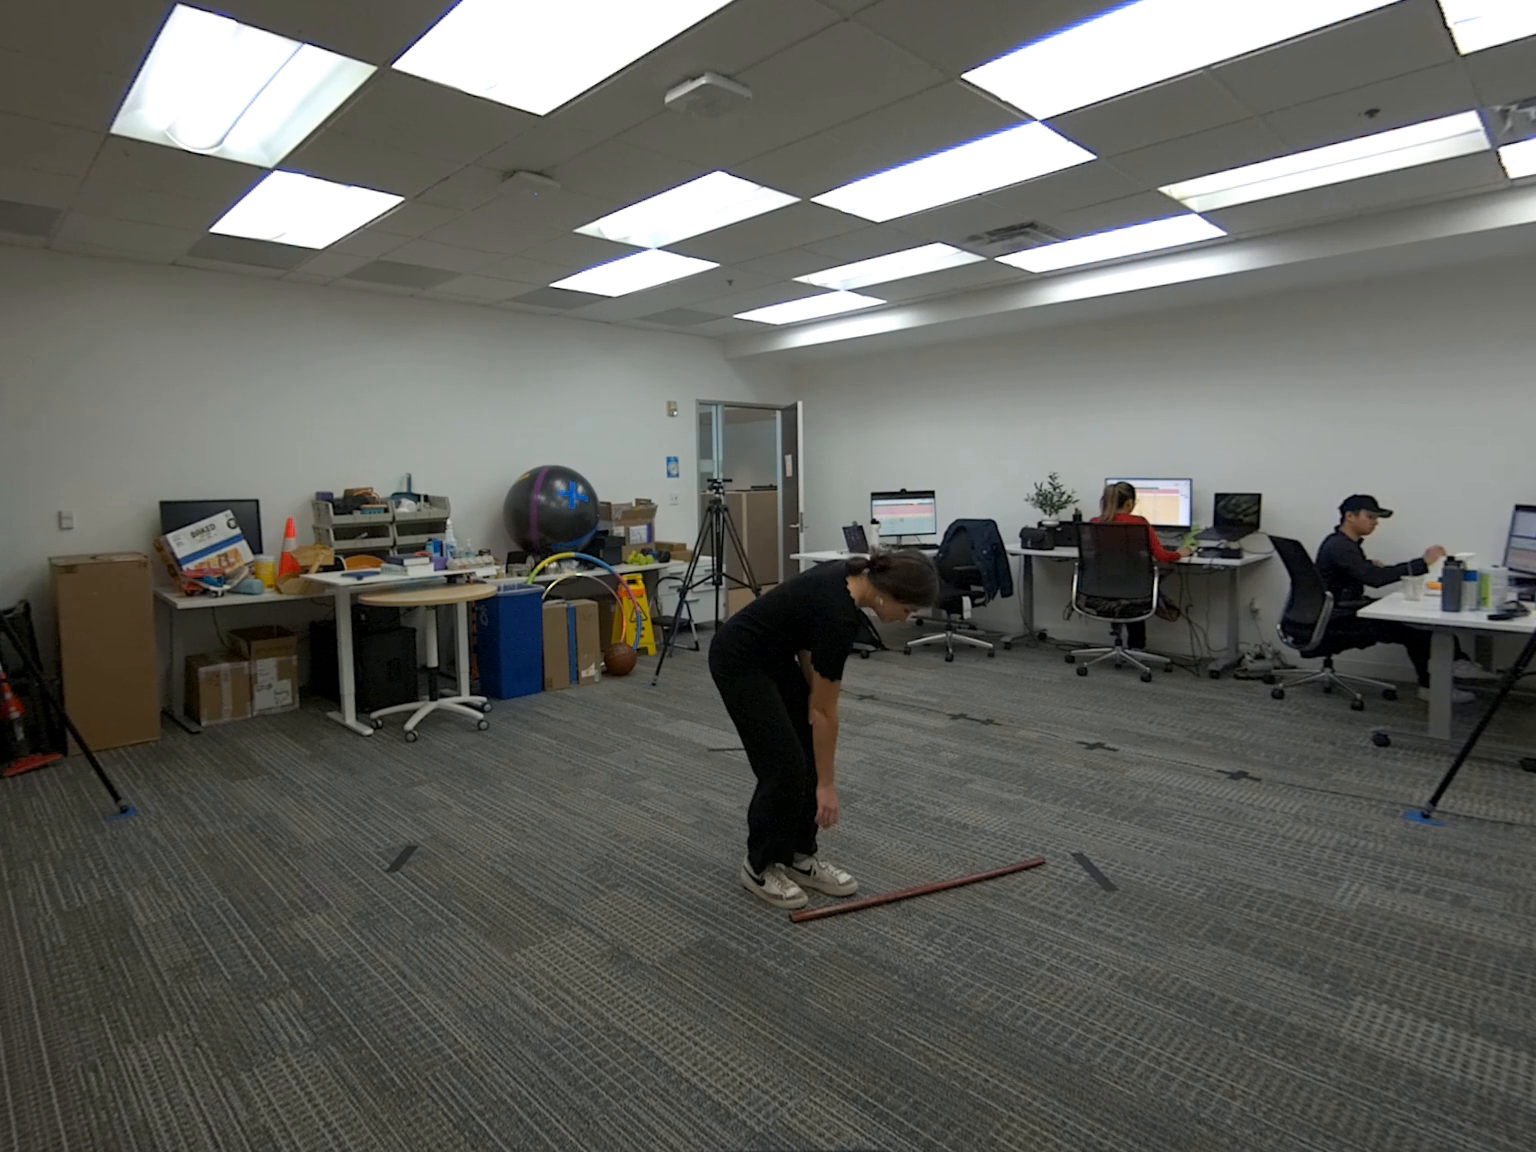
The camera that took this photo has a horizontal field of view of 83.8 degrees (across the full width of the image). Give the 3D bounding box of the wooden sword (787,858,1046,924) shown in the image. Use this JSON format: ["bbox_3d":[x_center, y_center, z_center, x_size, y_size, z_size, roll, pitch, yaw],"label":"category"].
[{"bbox_3d":[0.536,1.039,2.878,1.005,0.024,0.052,-3,7,-22],"label":"wooden sword"}]
